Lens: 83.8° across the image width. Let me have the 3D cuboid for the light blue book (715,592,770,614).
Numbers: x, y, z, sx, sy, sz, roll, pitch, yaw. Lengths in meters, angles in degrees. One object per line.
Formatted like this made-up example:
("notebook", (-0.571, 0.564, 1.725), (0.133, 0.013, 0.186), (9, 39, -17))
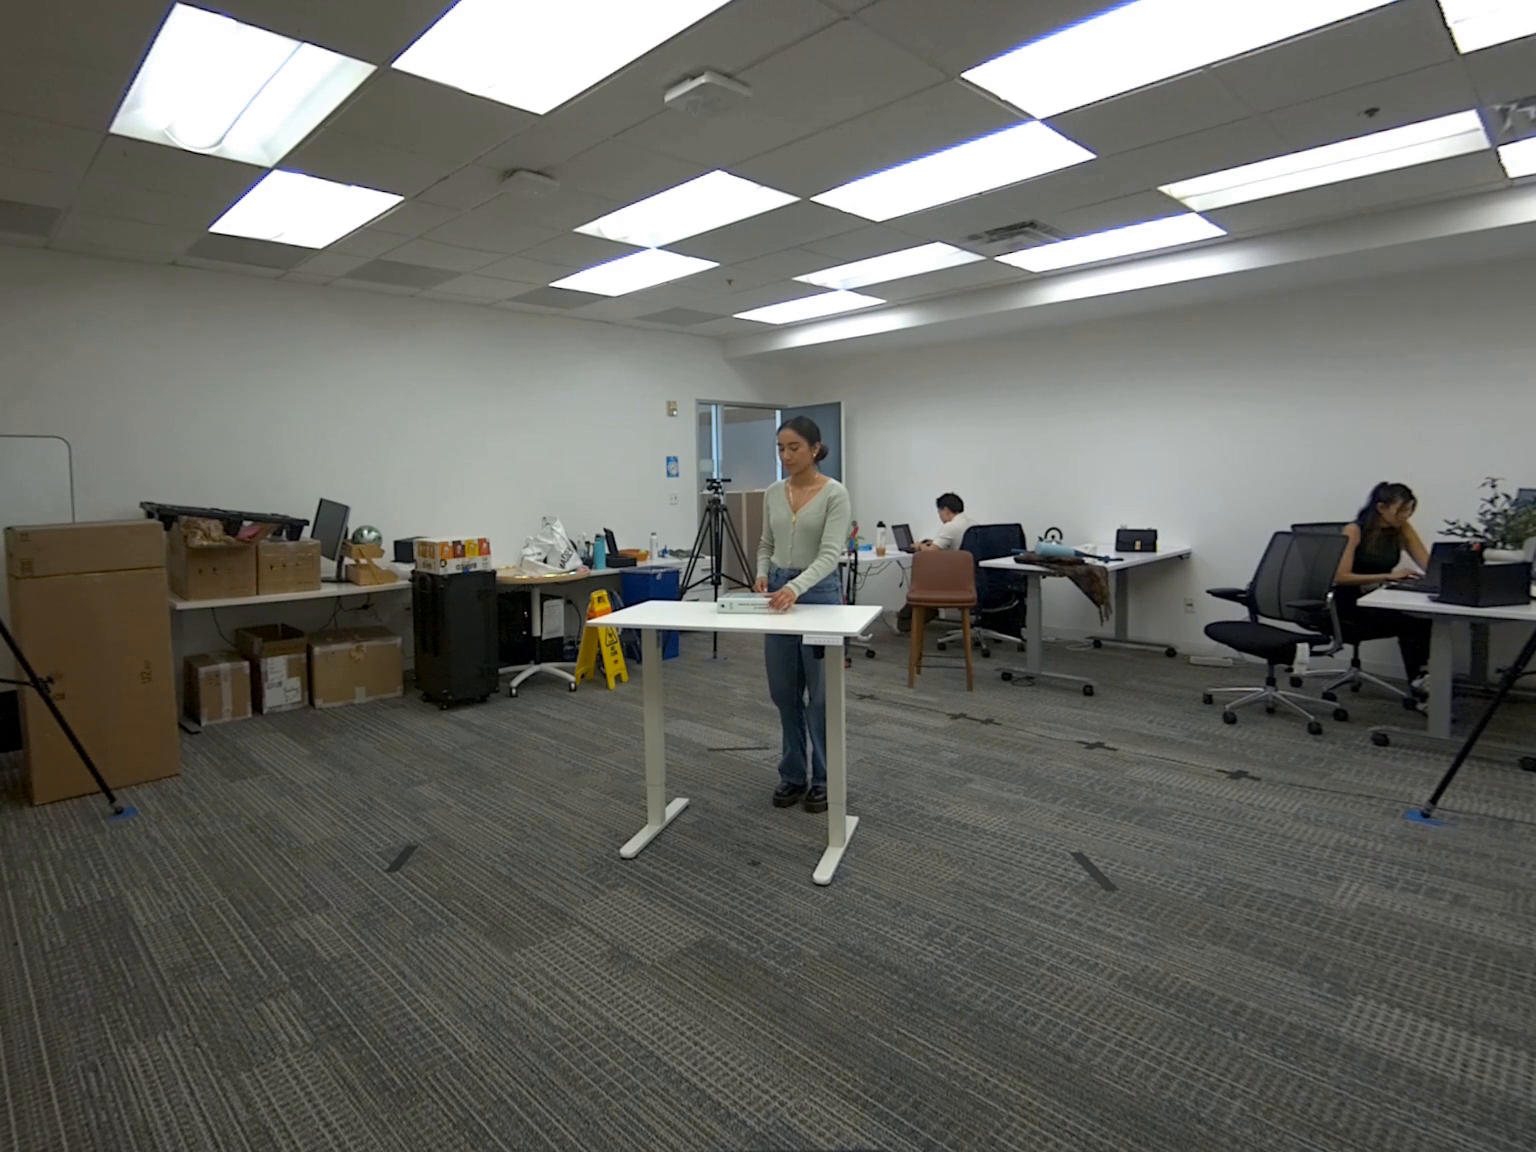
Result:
("light blue book", (-0.055, 0.109, 3.358), (0.263, 0.059, 0.190), (1, 5, 9))
